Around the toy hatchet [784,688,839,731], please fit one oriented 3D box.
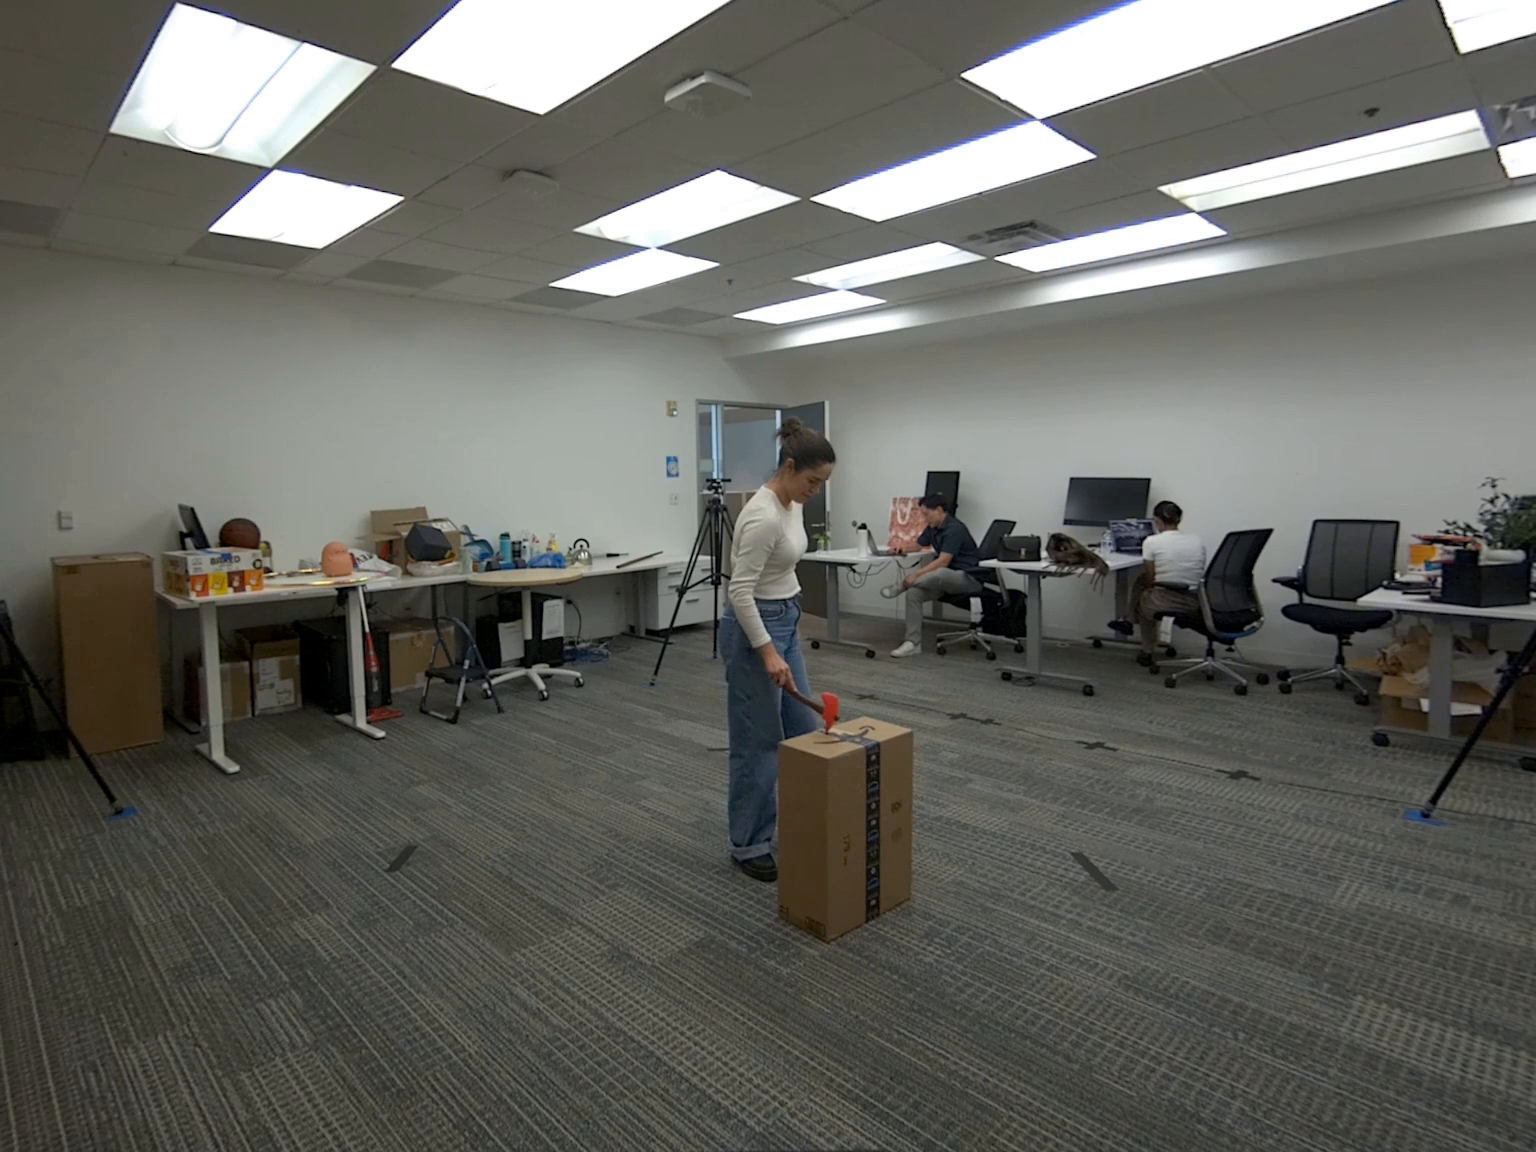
[{"bbox_3d":[0.157,0.382,2.792,0.278,0.130,0.029,44,35,25],"label":"toy hatchet"}]
